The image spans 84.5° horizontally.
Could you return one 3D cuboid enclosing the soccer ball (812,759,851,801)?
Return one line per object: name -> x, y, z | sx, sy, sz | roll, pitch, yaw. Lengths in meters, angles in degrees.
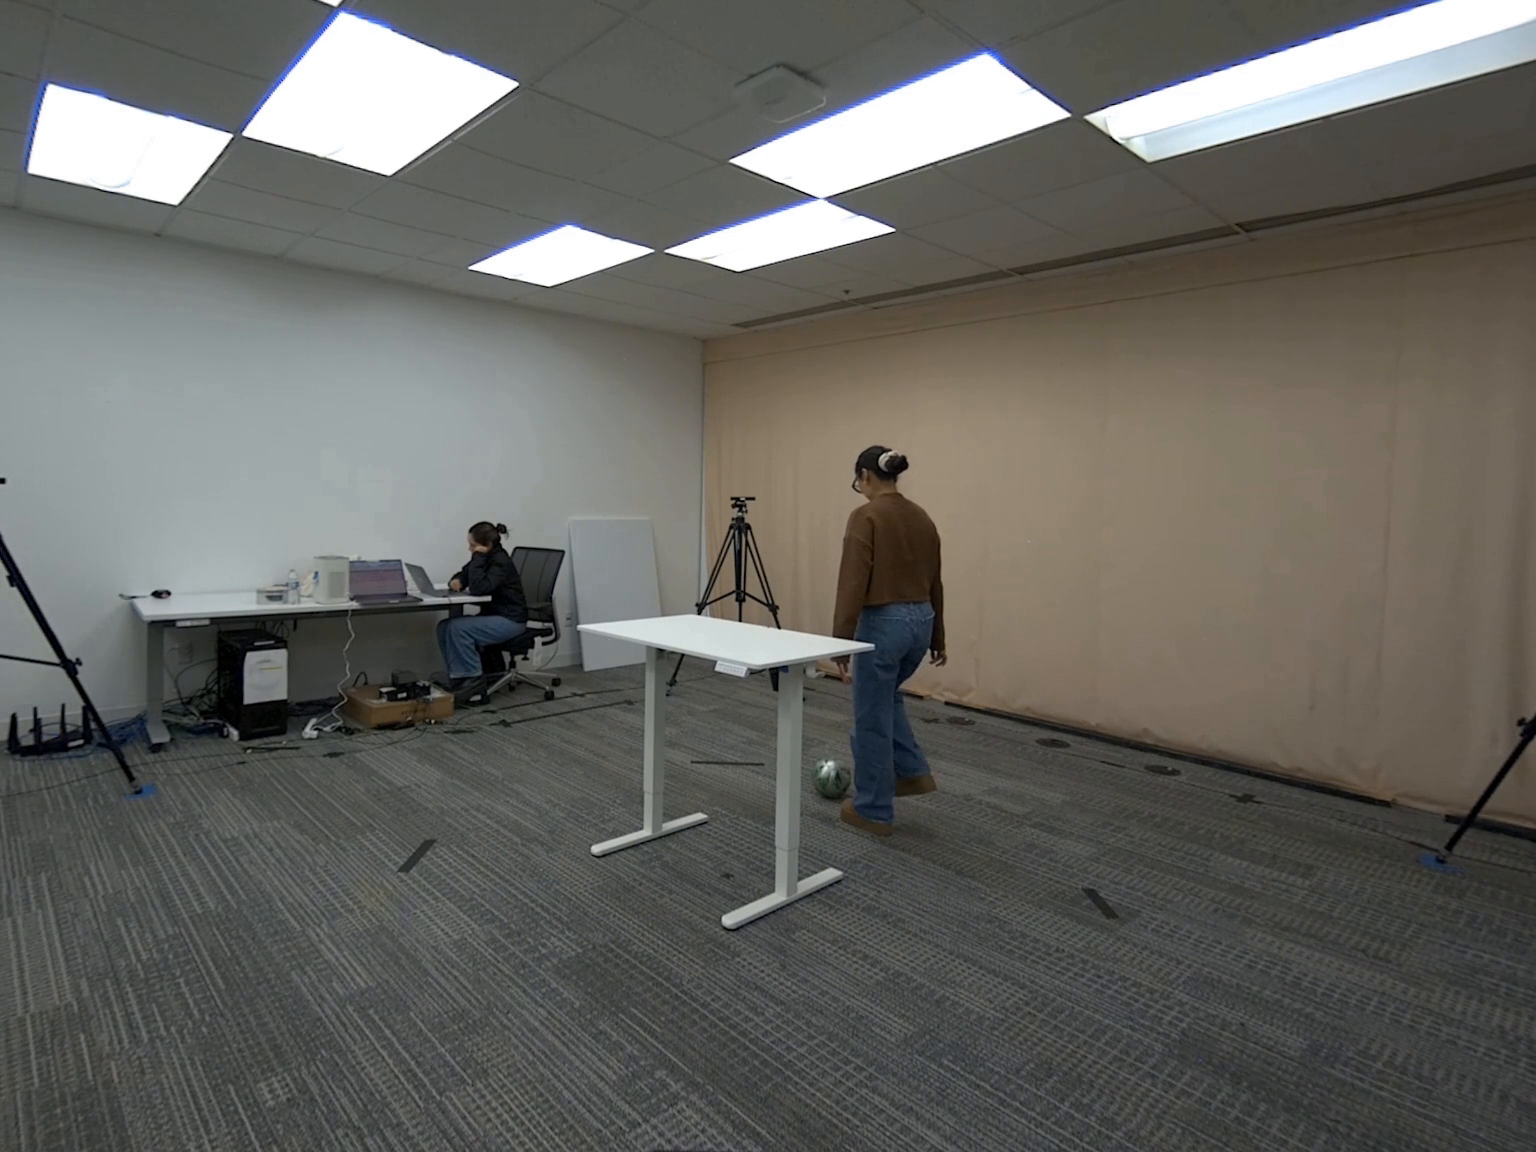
soccer ball -> 0.288, 0.952, 3.979 | 0.187, 0.187, 0.188 | 1, 4, -1
